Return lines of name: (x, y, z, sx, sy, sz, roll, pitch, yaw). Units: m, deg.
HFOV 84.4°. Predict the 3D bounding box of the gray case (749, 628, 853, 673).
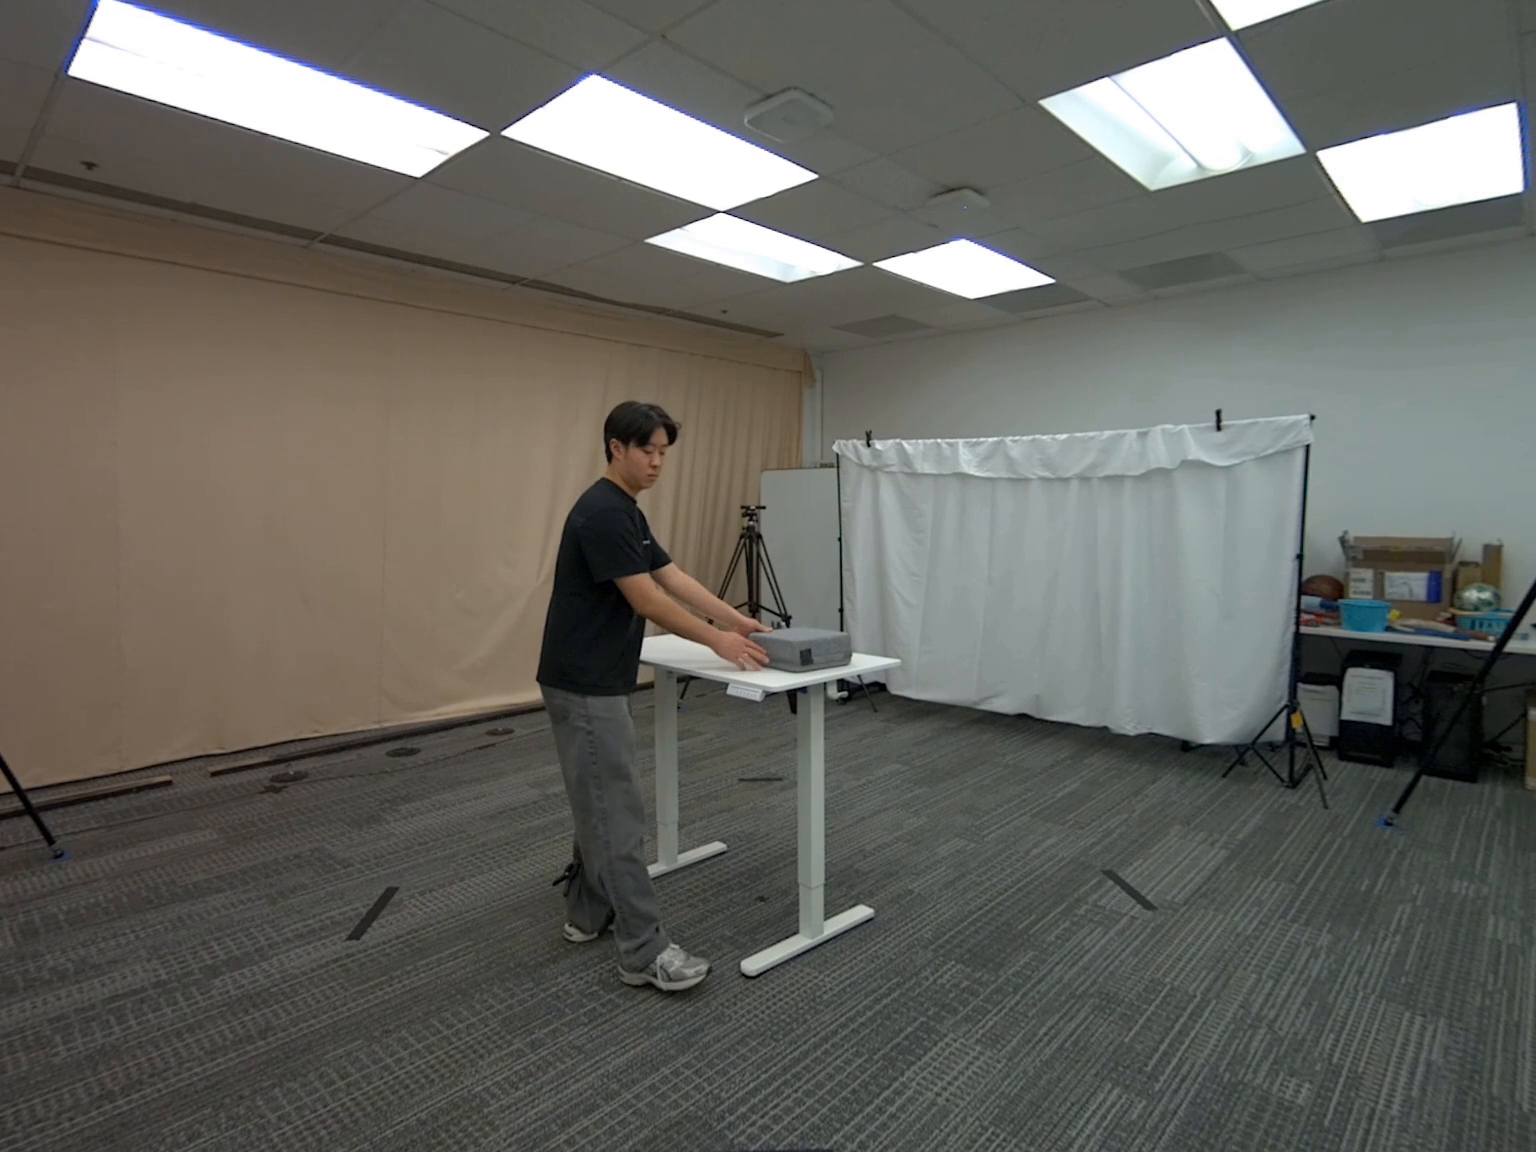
gray case: (0.104, 0.230, 2.698, 0.255, 0.103, 0.296, -4, 5, -36)
